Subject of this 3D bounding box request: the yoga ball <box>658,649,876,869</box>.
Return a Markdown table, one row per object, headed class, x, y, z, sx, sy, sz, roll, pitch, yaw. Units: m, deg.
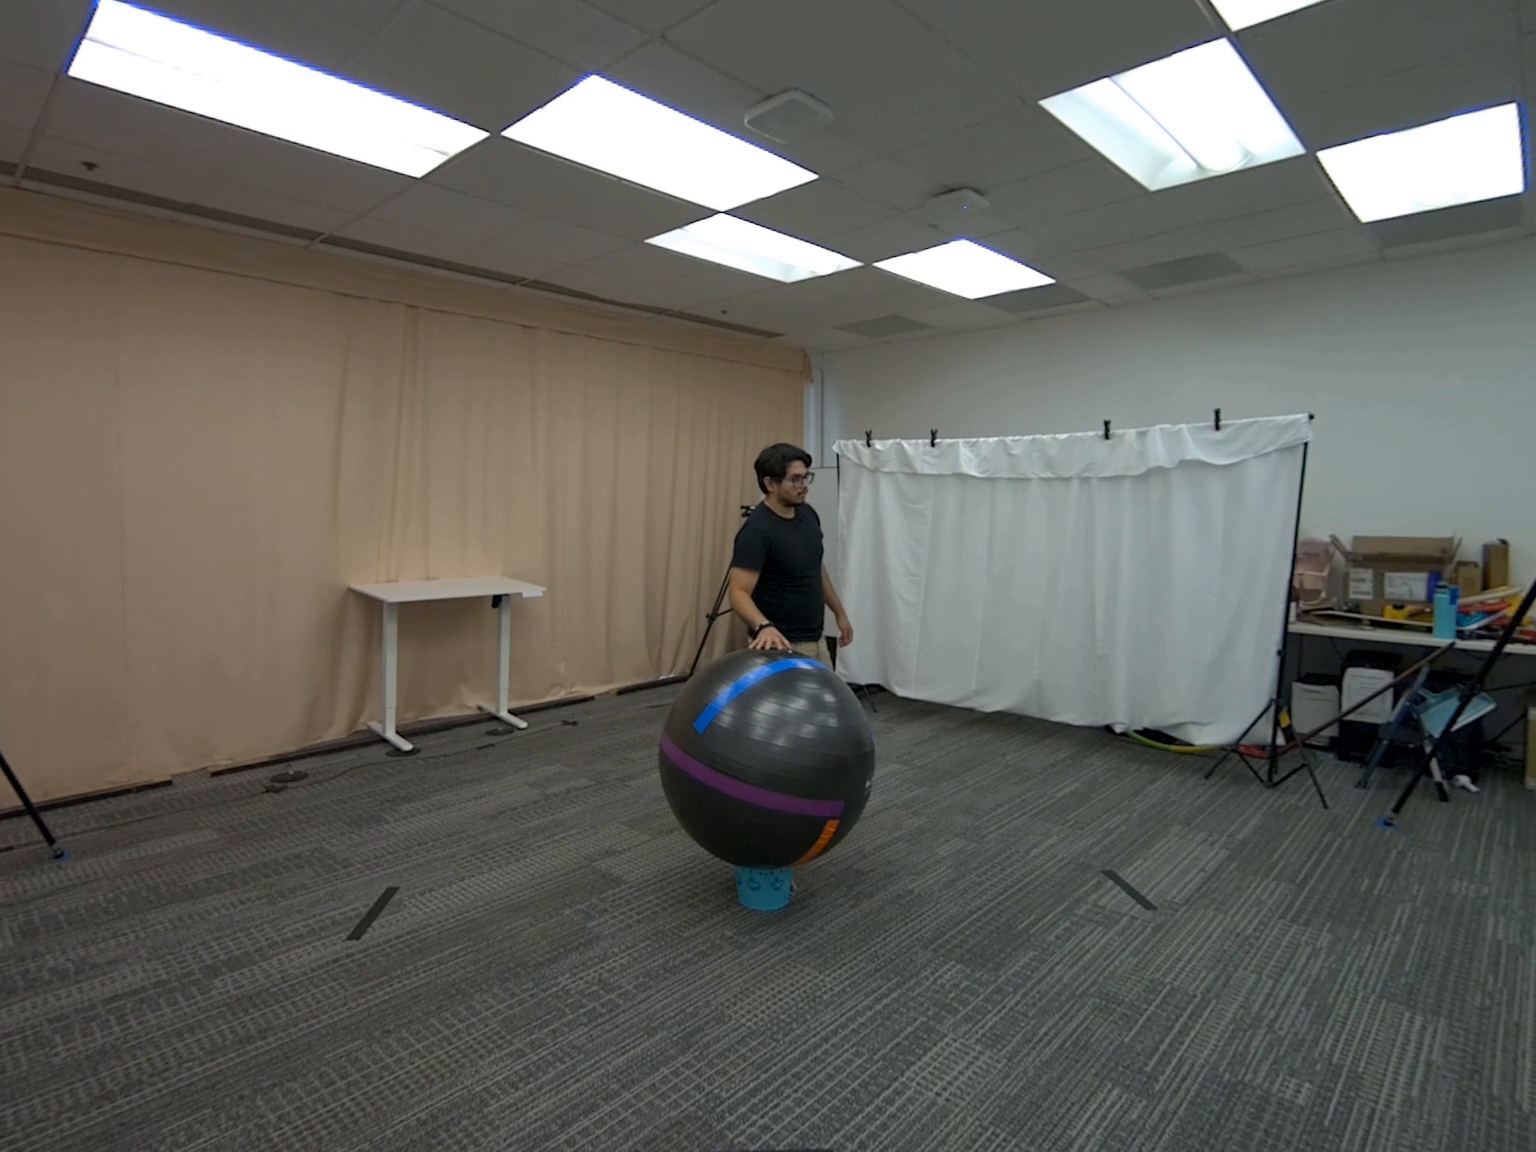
| class | x | y | z | sx | sy | sz | roll | pitch | yaw |
| --- | --- | --- | --- | --- | --- | --- | --- | --- | --- |
| yoga ball | 0.003 | 0.636 | 2.969 | 0.757 | 0.756 | 0.760 | 0 | 4 | -2 |
